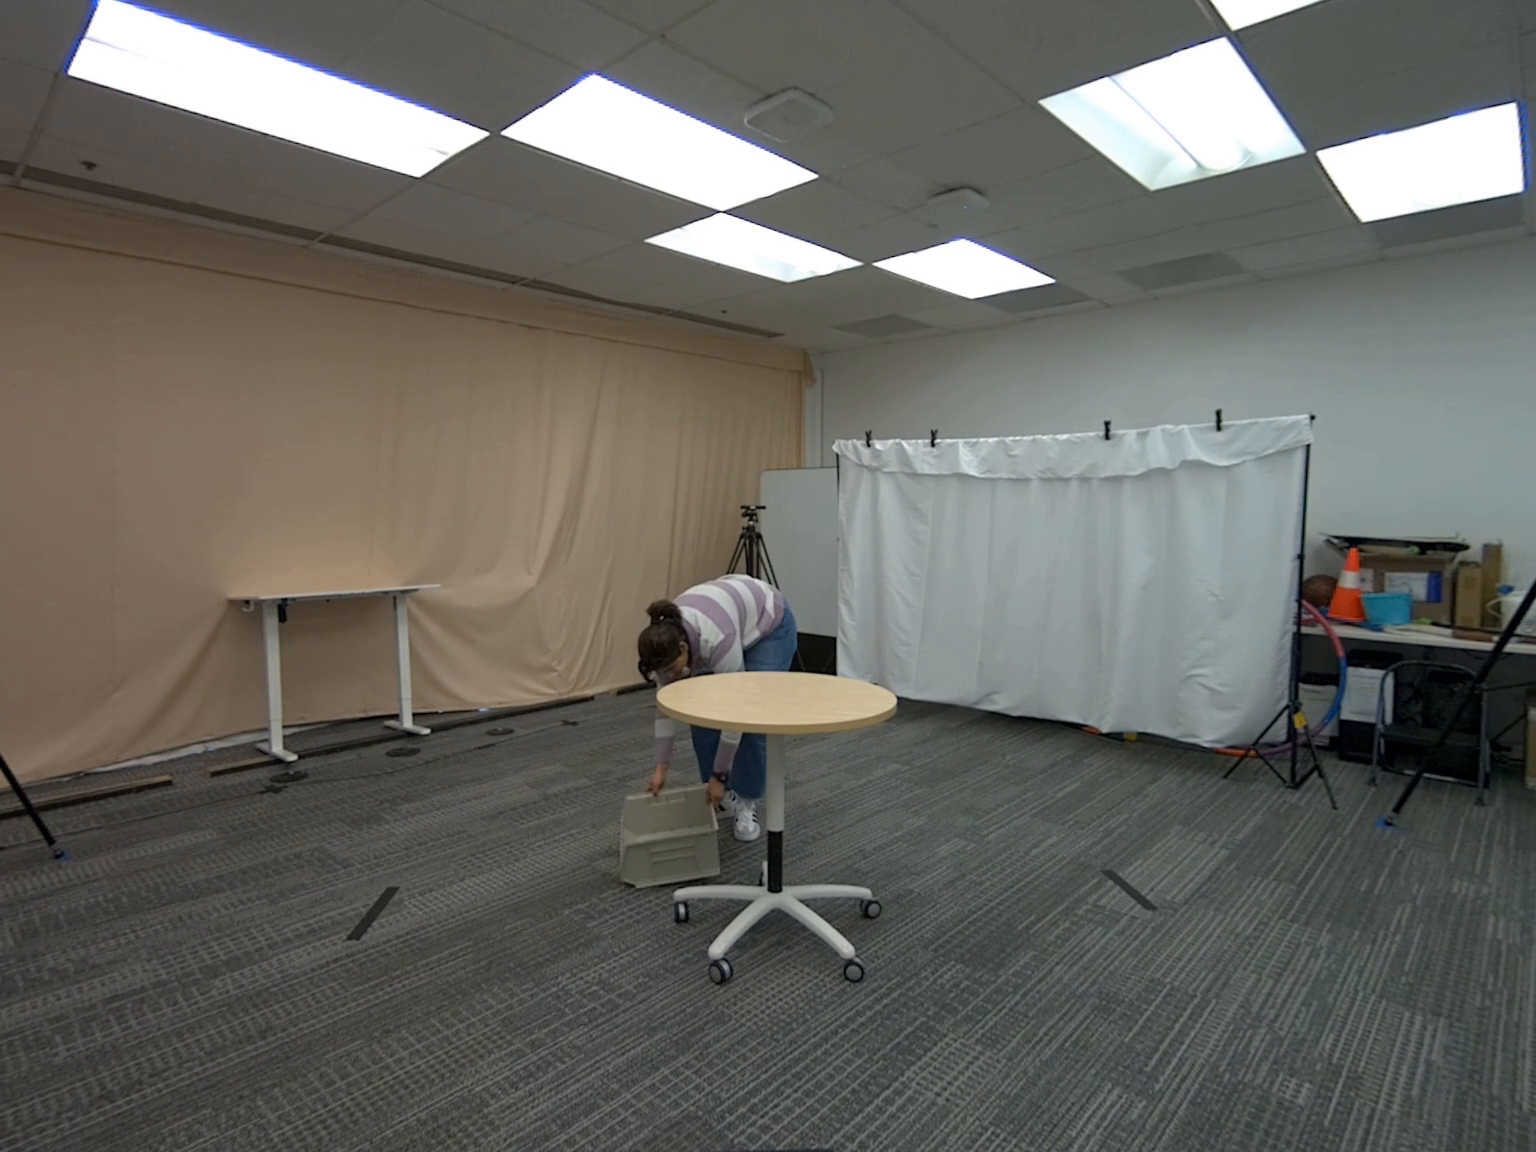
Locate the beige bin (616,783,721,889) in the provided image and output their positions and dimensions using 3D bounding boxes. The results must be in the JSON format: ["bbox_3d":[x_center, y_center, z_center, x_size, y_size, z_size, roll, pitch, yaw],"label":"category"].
[{"bbox_3d":[-0.395,1.003,3.277,0.374,0.188,0.428,-6,8,-8],"label":"beige bin"}]
